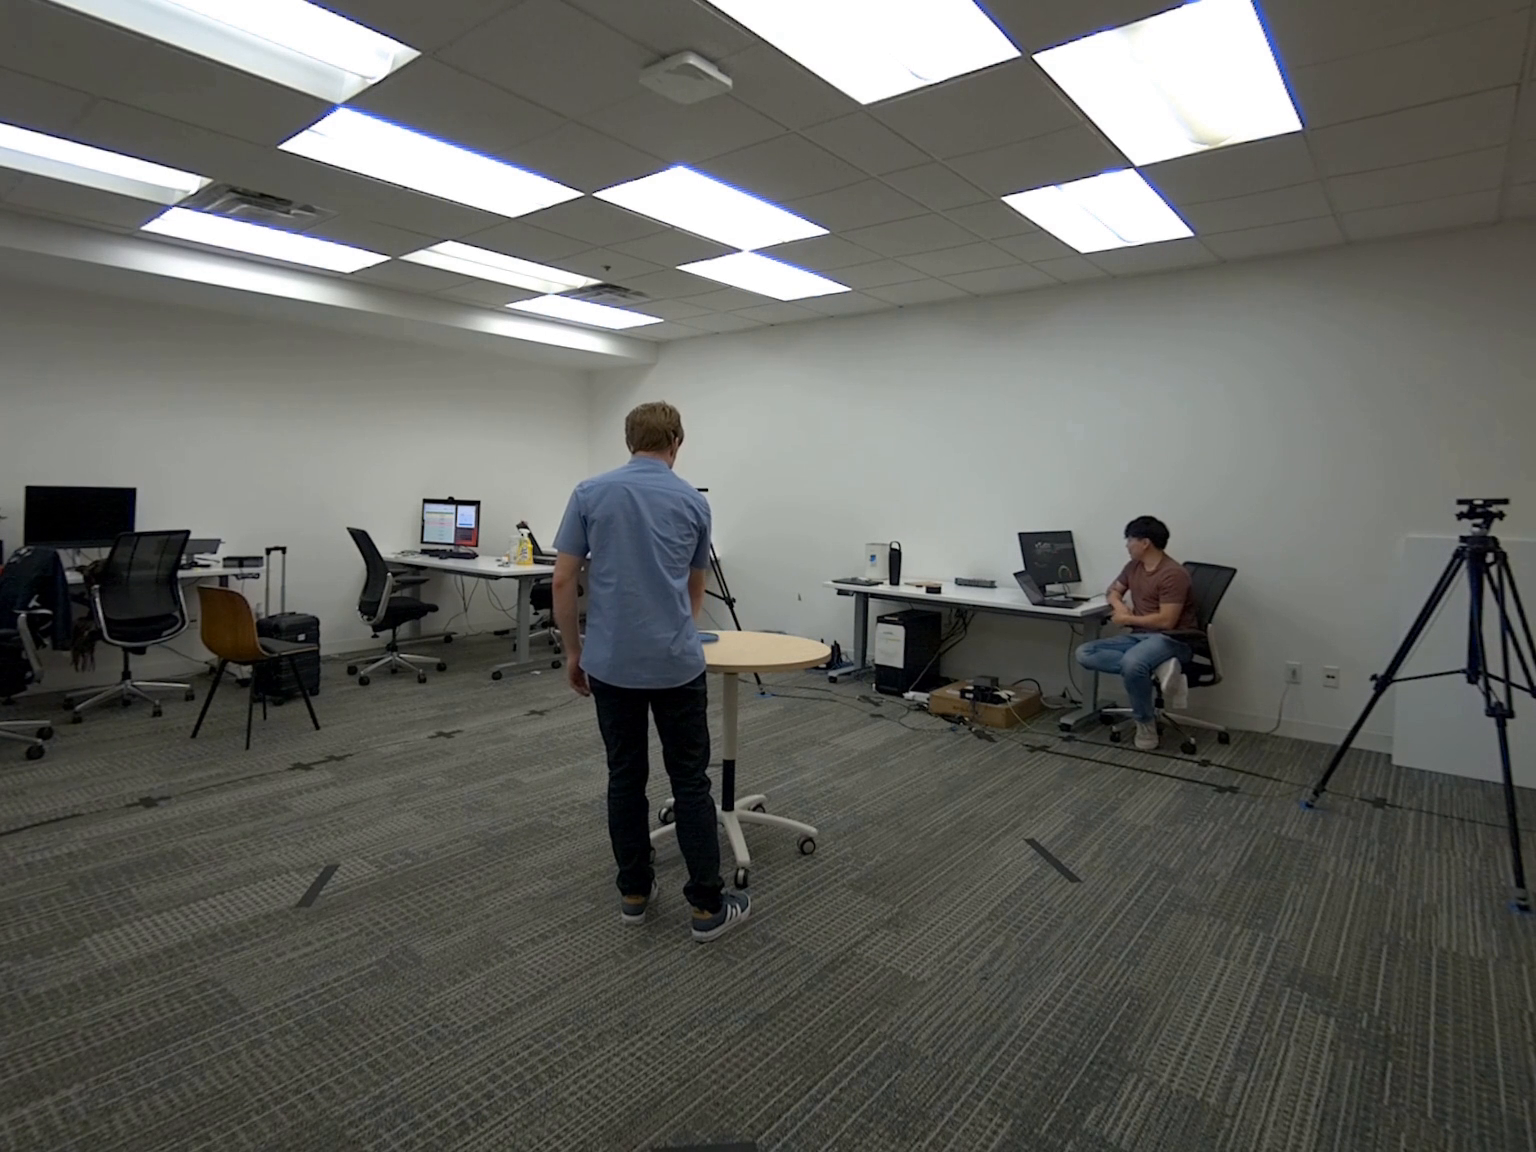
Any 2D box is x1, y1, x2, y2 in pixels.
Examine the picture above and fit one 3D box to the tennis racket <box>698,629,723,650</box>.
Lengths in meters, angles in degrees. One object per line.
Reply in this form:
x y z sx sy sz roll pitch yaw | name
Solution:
-0.329 0.250 3.355 0.216 0.032 0.429 3 3 9 | tennis racket
